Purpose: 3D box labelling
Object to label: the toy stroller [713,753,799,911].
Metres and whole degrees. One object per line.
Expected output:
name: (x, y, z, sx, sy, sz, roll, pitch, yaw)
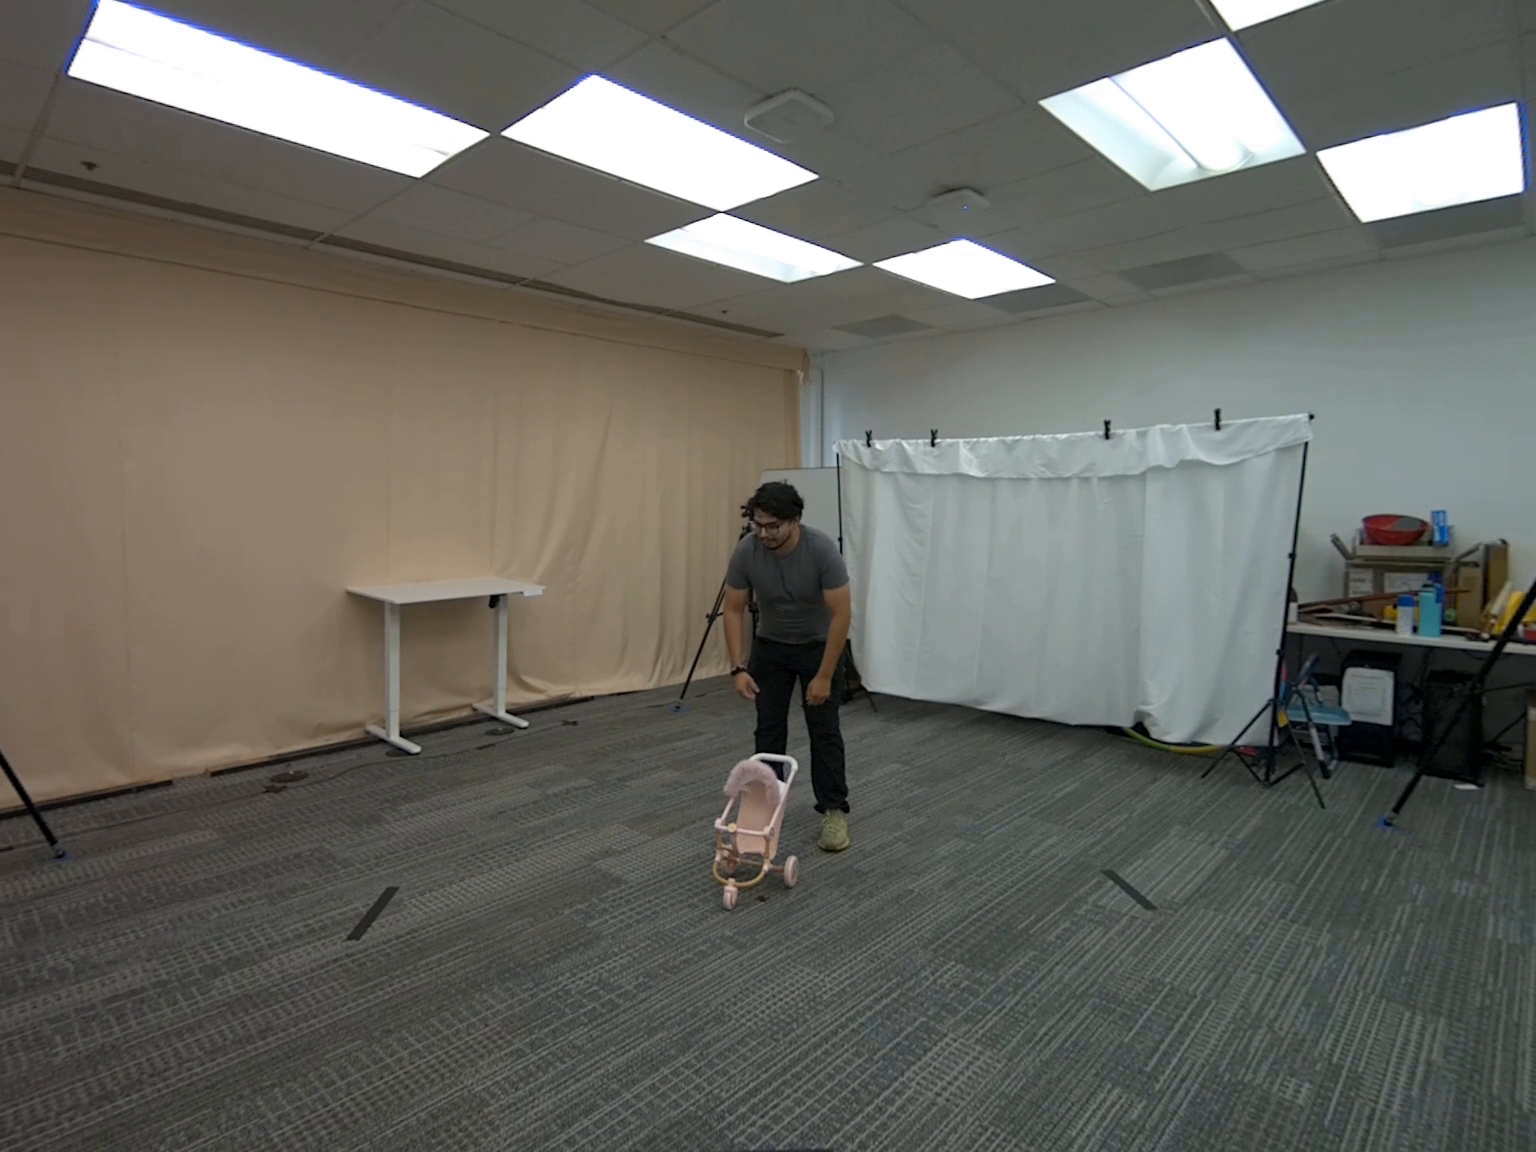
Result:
toy stroller: (-0.059, 0.915, 3.069, 0.289, 0.538, 0.330, 1, -13, 29)
